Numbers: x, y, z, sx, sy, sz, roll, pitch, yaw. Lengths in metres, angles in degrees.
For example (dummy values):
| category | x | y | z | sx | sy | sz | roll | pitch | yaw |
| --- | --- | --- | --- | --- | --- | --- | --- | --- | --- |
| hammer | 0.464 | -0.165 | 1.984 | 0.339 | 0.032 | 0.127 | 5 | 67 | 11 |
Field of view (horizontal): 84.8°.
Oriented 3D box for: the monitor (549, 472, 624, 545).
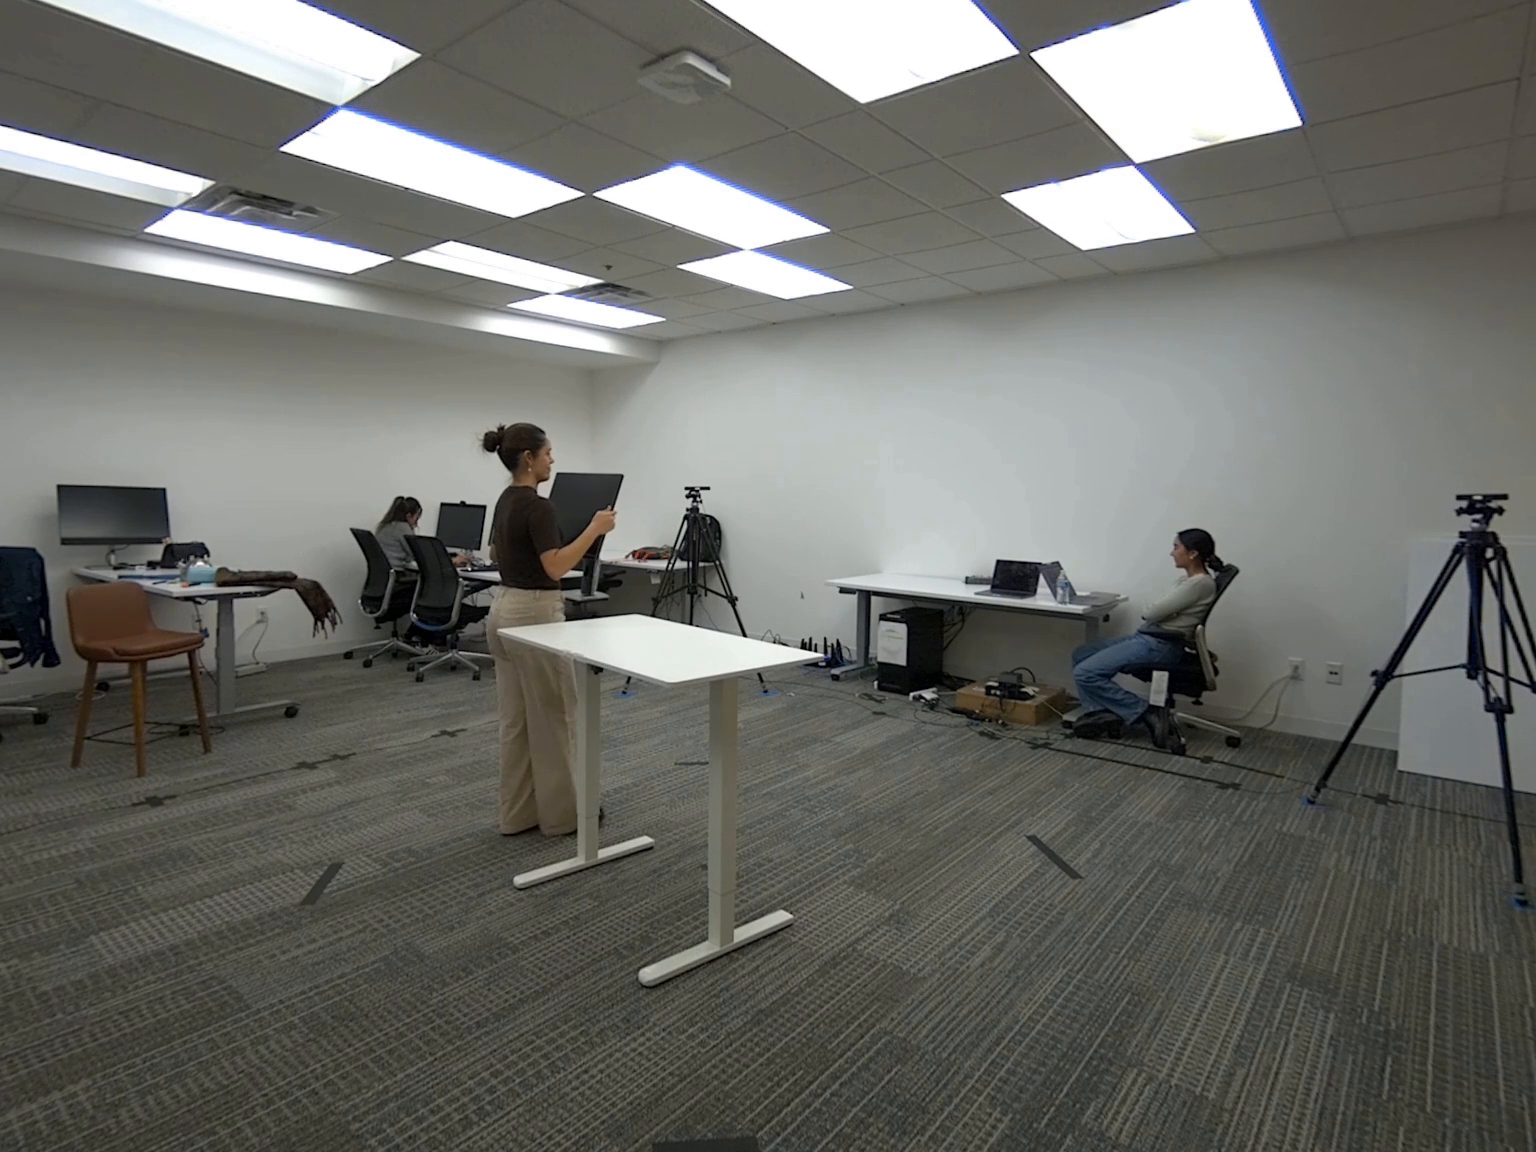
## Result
| category | x | y | z | sx | sy | sz | roll | pitch | yaw |
| --- | --- | --- | --- | --- | --- | --- | --- | --- | --- |
| monitor | -0.782 | -0.167 | 3.518 | 0.181 | 0.522 | 0.558 | 3 | 3 | -43 |
